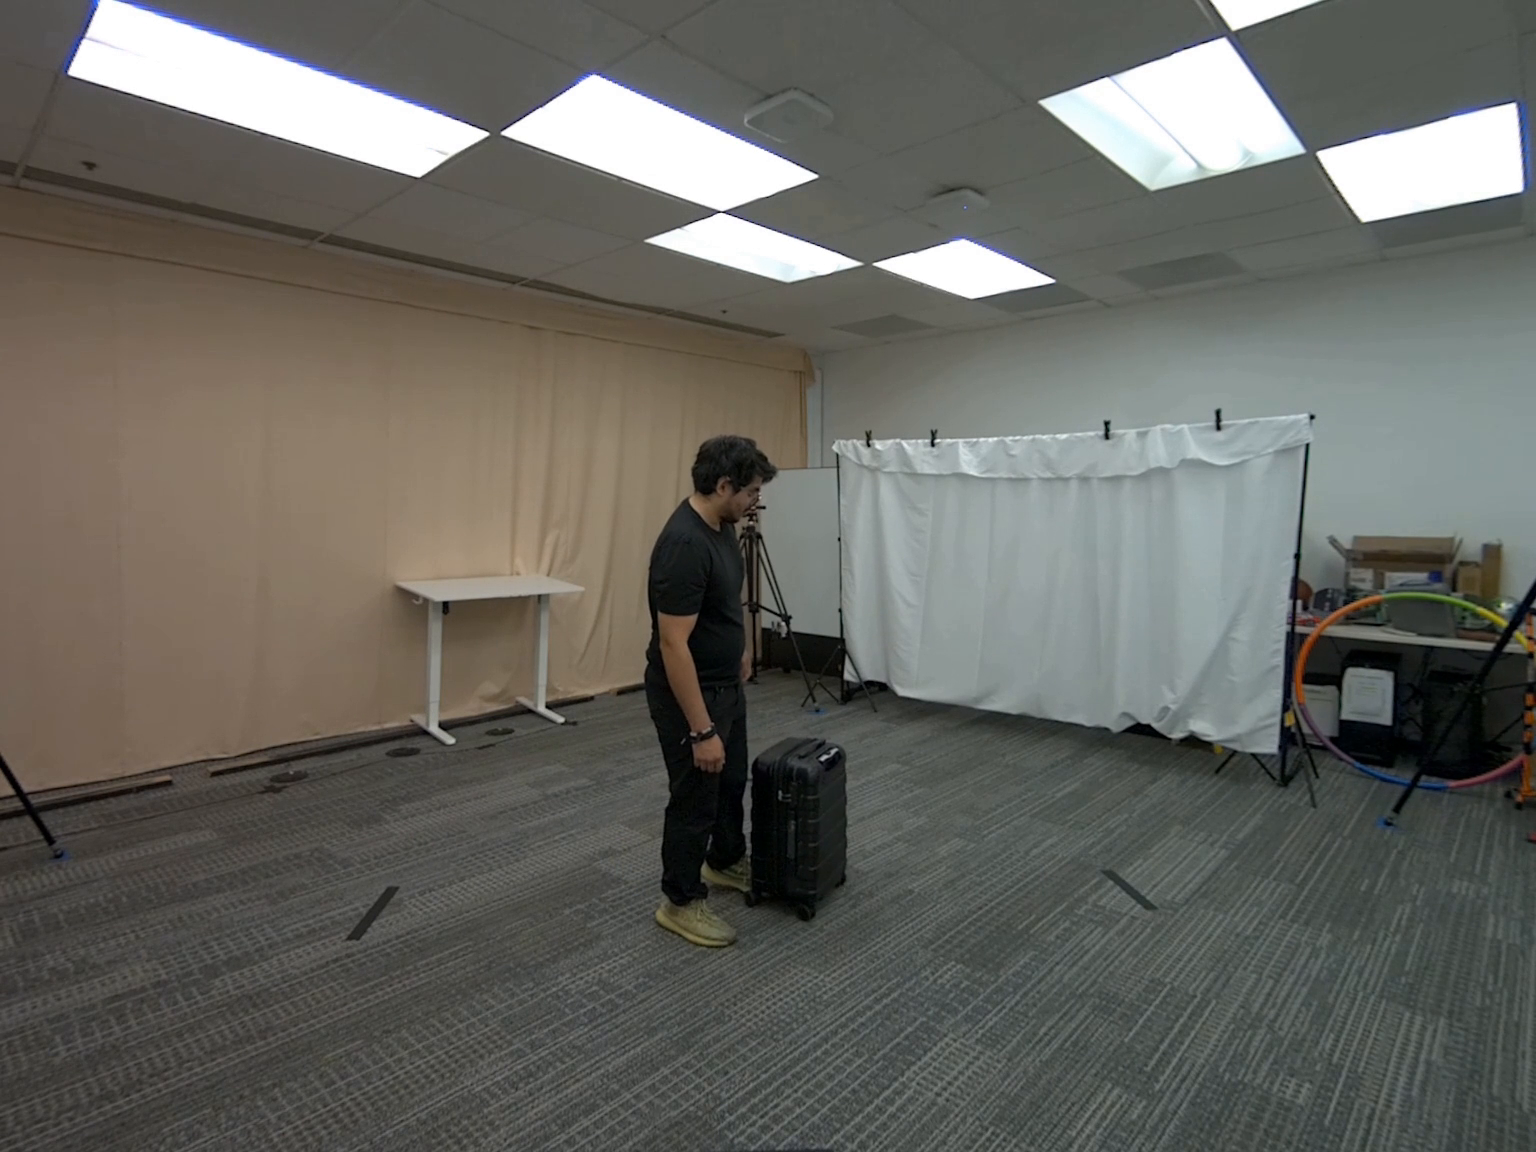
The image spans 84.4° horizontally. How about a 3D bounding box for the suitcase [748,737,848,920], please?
[{"bbox_3d":[0.119,0.865,2.982,0.255,0.548,0.367,1,5,25],"label":"suitcase"}]
